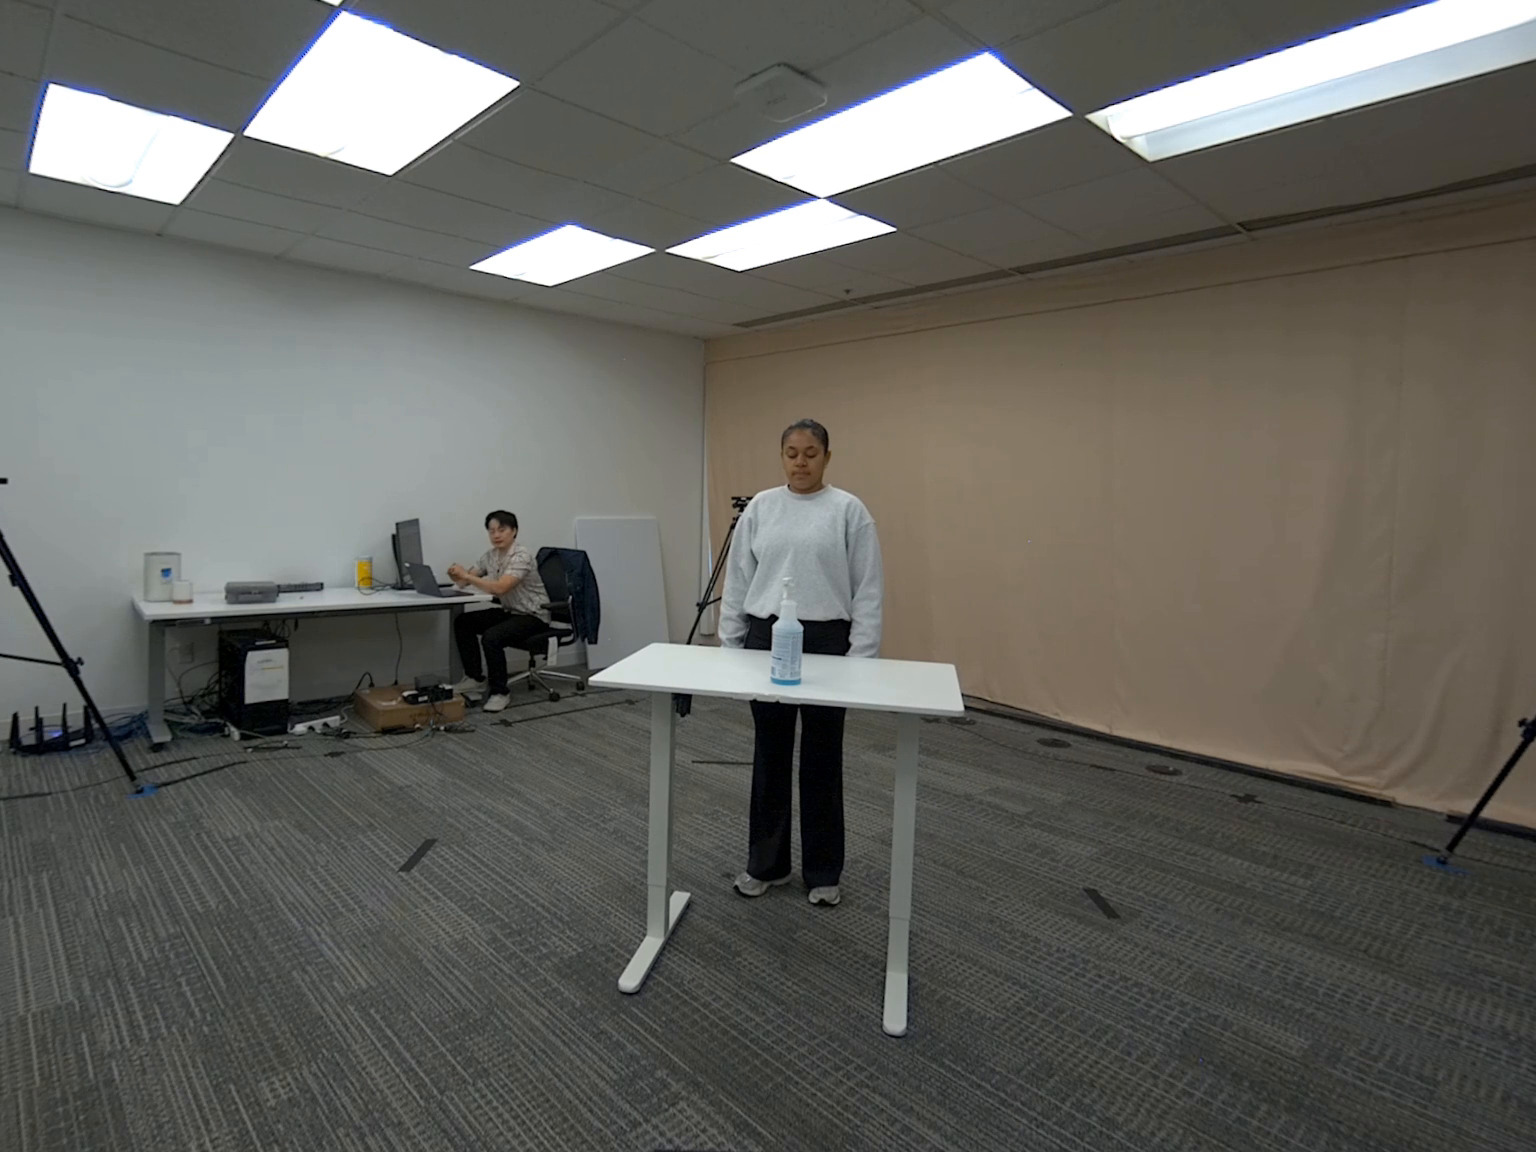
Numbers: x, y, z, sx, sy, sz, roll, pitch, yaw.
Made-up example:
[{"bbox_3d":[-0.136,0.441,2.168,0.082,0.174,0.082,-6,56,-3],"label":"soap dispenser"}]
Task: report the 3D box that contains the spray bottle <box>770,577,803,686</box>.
[{"bbox_3d":[0.041,0.155,2.346,0.089,0.296,0.088,5,7,41],"label":"spray bottle"}]
